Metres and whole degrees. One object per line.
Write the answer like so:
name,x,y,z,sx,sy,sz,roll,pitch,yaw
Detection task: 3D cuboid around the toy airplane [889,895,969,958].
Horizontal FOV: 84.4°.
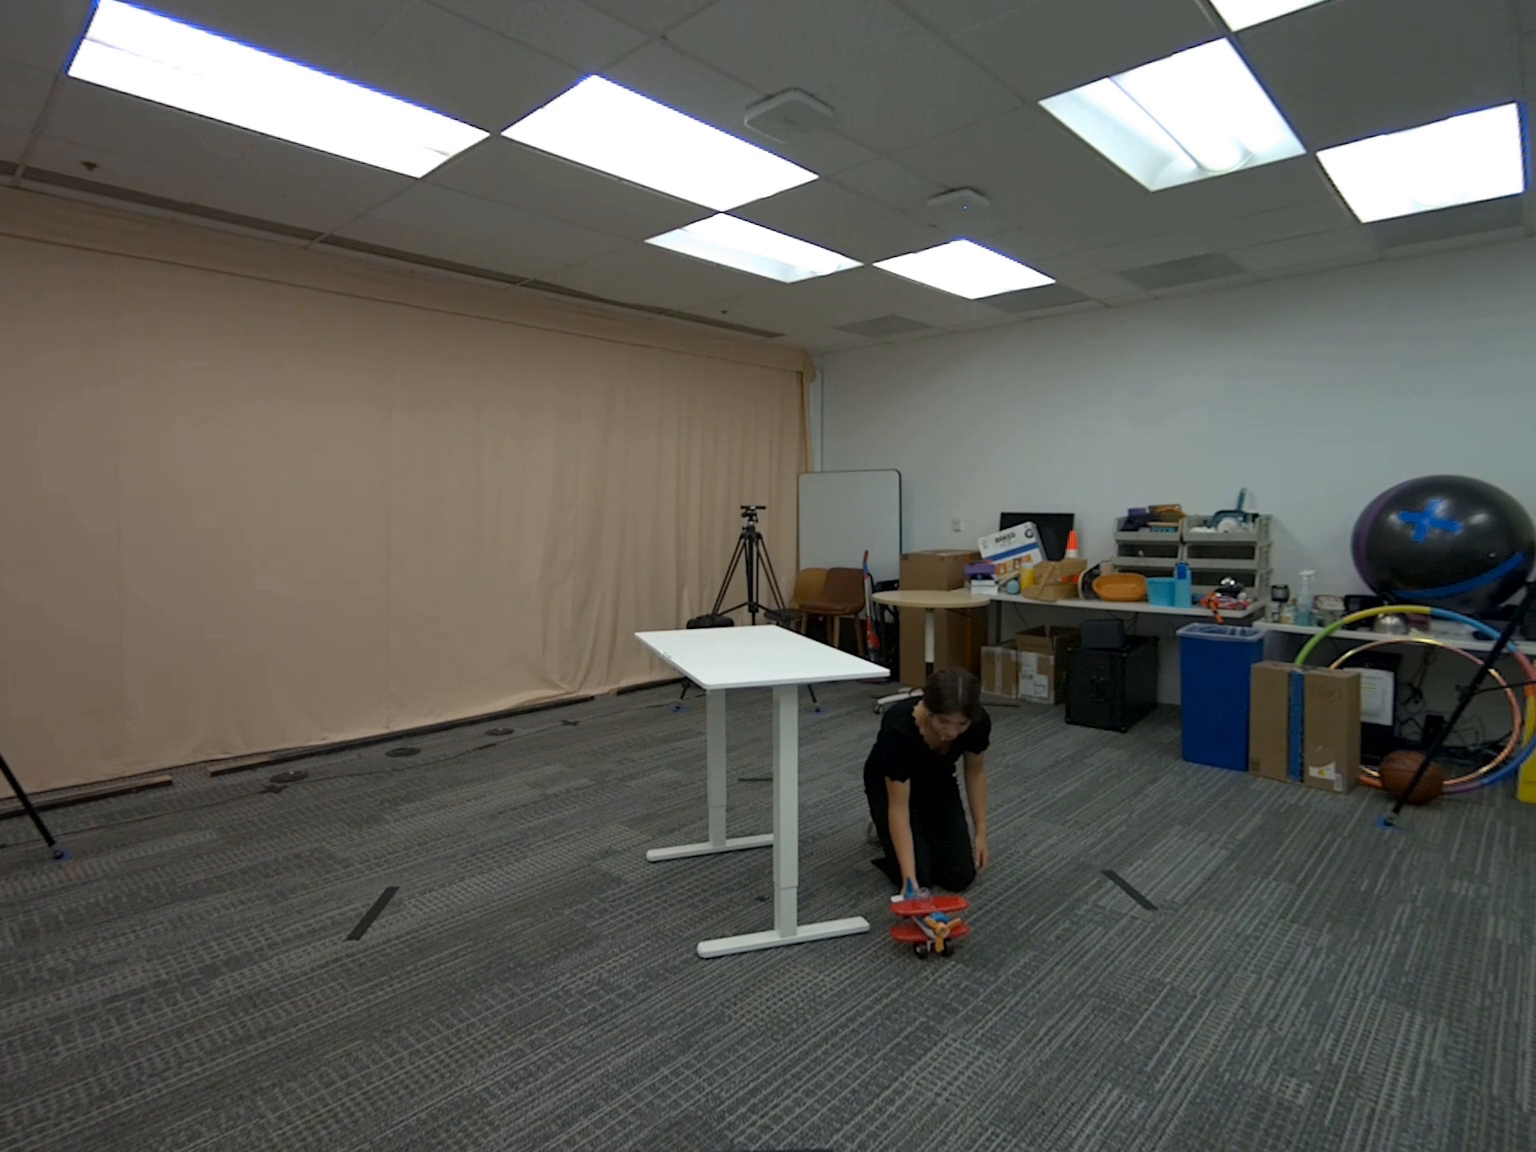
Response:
toy airplane,0.482,1.076,2.662,0.244,0.155,0.269,-10,21,-39
